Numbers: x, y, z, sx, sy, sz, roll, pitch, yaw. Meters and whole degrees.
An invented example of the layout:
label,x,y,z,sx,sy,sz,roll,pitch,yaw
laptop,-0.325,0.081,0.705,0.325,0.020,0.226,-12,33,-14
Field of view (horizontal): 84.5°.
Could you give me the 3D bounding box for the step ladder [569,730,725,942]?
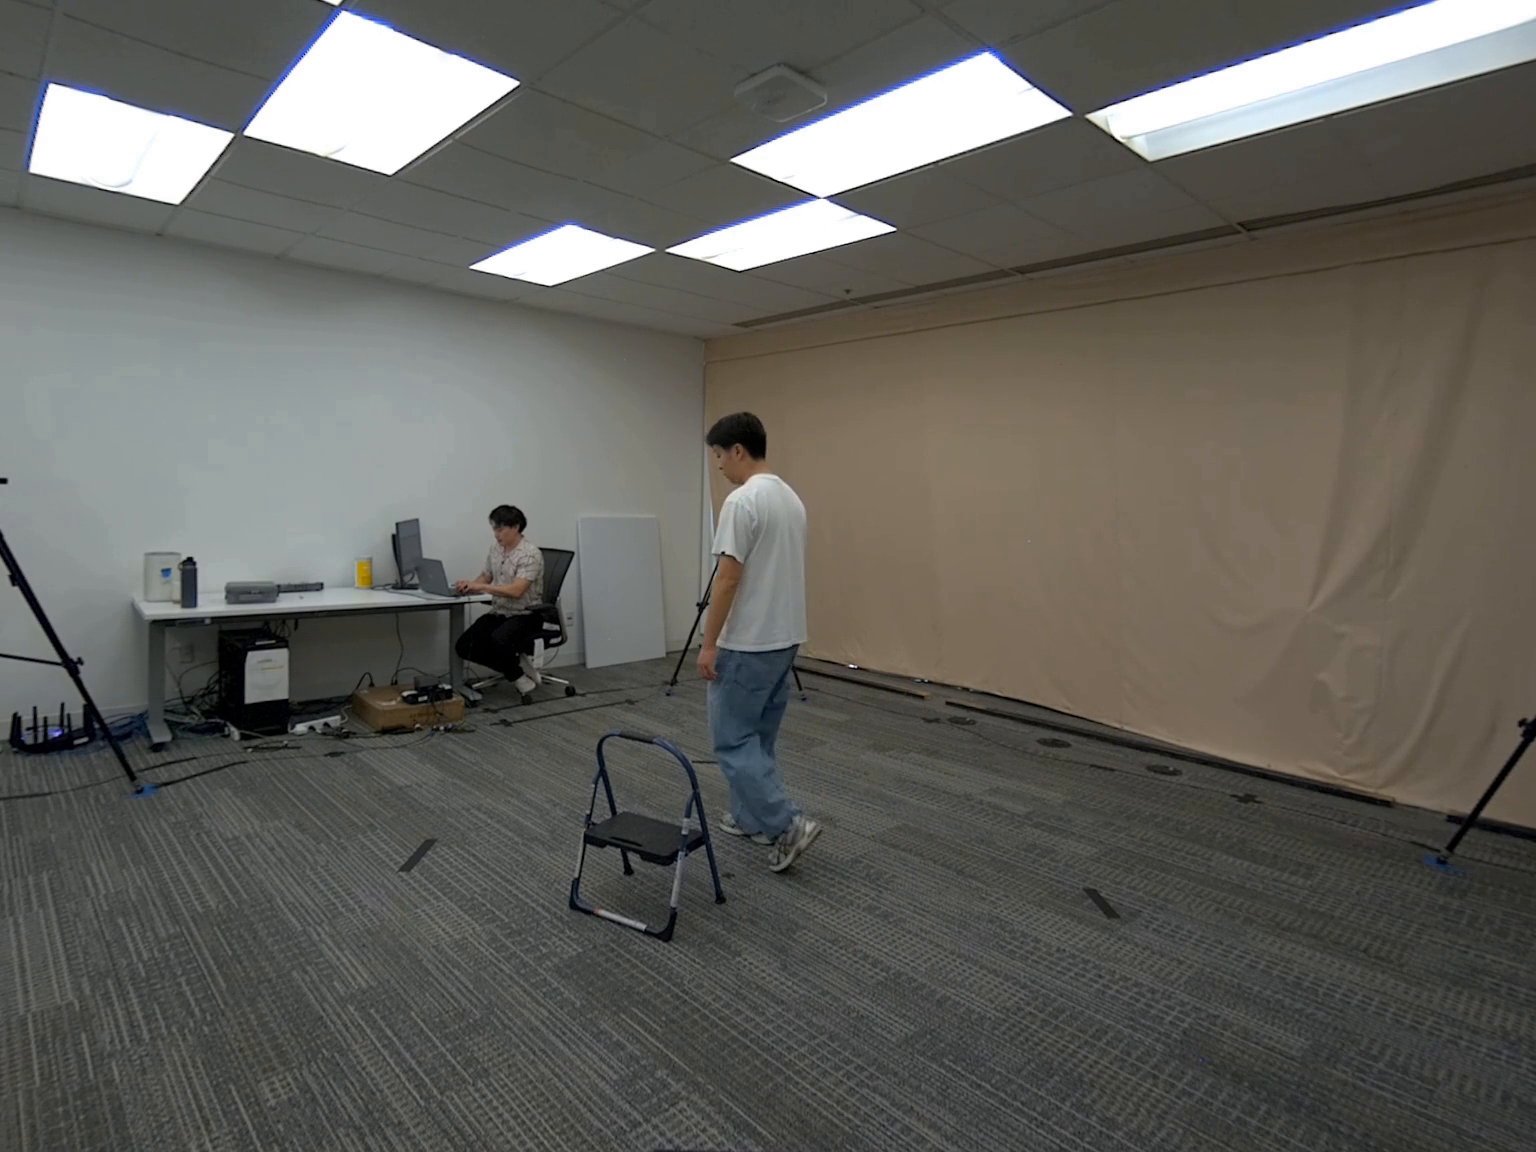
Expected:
label,x,y,z,sx,sy,sz,roll,pitch,yaw
step ladder,-0.412,0.819,2.855,0.440,0.604,0.342,3,4,30
